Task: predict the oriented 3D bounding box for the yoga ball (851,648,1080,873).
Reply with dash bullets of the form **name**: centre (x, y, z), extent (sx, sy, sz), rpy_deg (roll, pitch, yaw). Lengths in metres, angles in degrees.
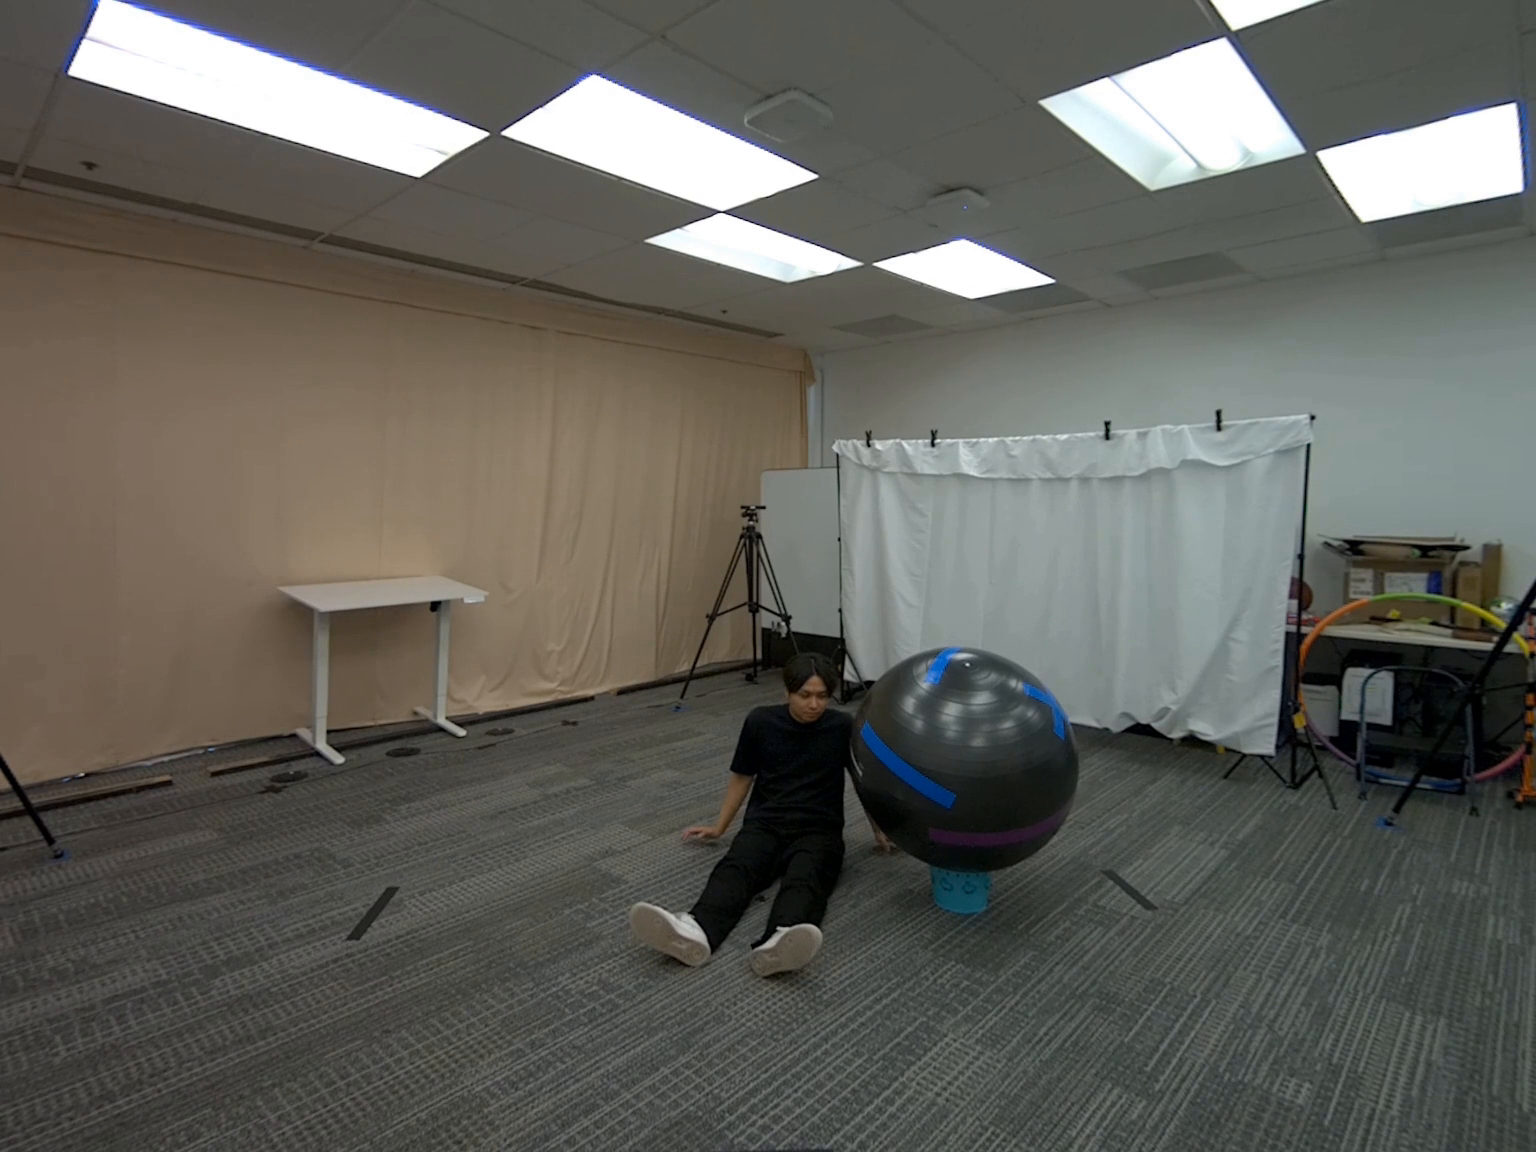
- **yoga ball**: centre (0.687, 0.640, 2.932), extent (0.757, 0.756, 0.760), rpy_deg (0, 4, -2)
